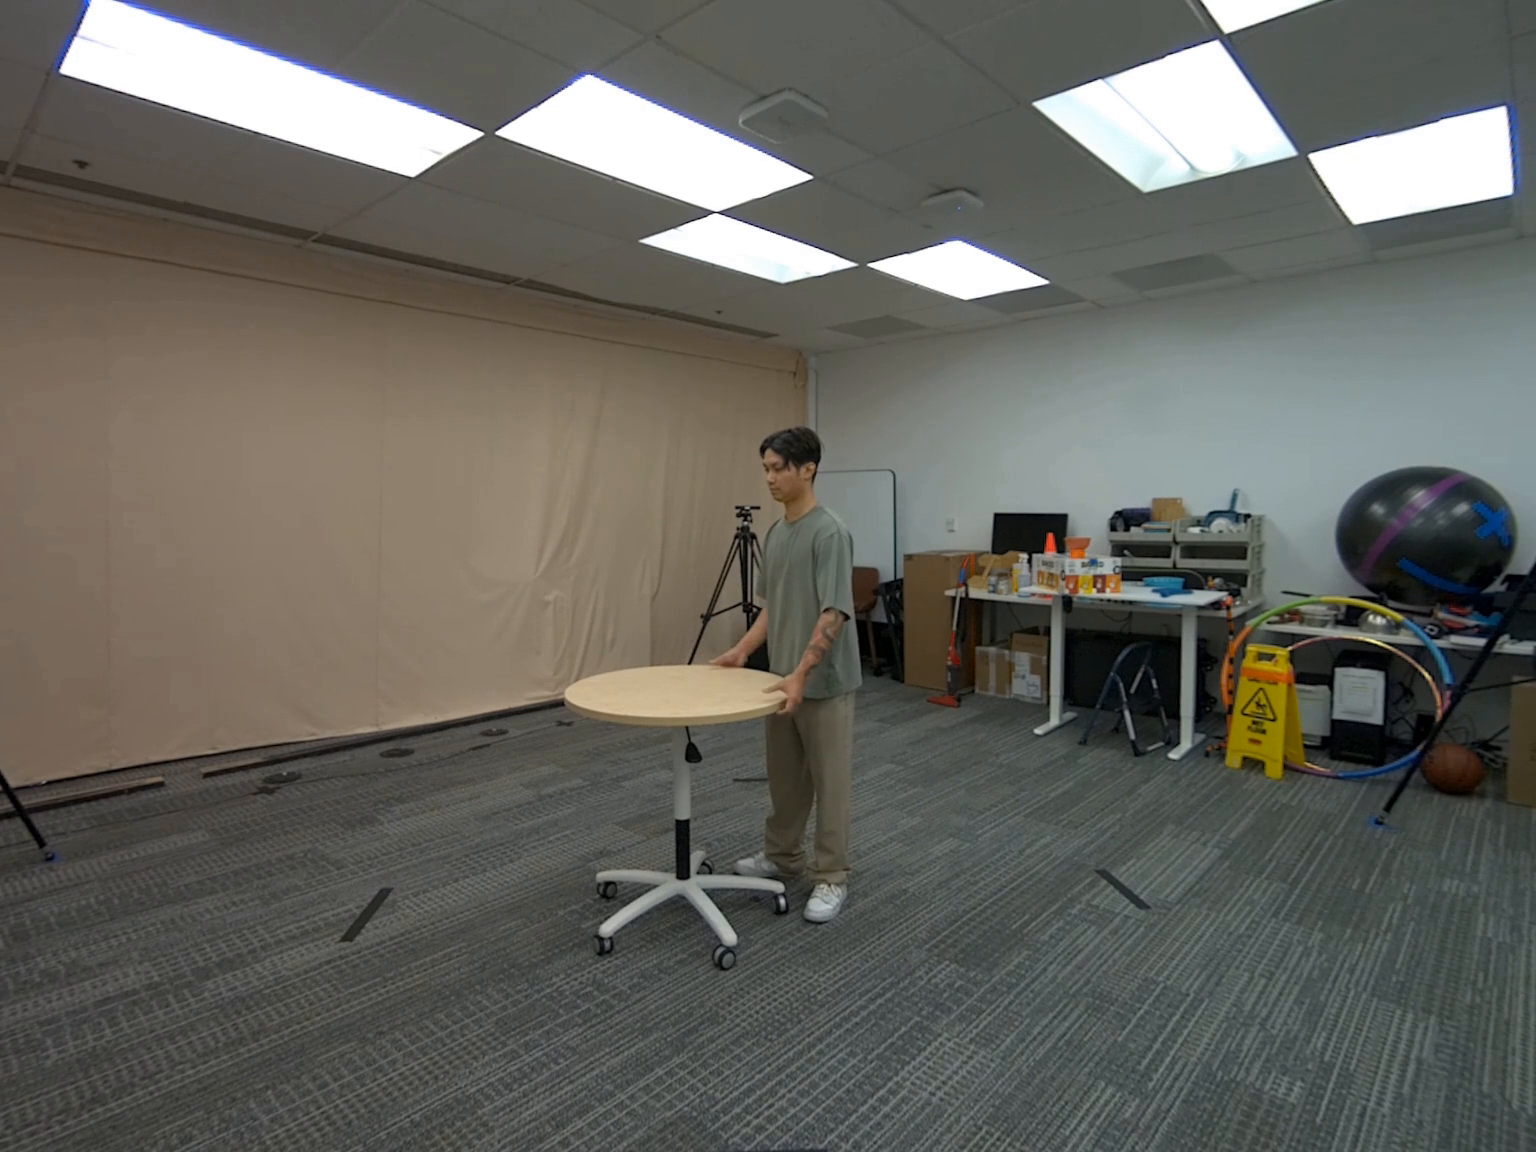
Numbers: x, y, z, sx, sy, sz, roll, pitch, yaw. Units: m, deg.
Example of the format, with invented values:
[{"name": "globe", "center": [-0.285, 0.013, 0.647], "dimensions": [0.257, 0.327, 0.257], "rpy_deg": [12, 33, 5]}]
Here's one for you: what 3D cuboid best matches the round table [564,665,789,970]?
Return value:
[{"name": "round table", "center": [-0.283, 0.764, 2.839], "dimensions": [0.784, 0.785, 0.788], "rpy_deg": [0, 4, -2]}]
